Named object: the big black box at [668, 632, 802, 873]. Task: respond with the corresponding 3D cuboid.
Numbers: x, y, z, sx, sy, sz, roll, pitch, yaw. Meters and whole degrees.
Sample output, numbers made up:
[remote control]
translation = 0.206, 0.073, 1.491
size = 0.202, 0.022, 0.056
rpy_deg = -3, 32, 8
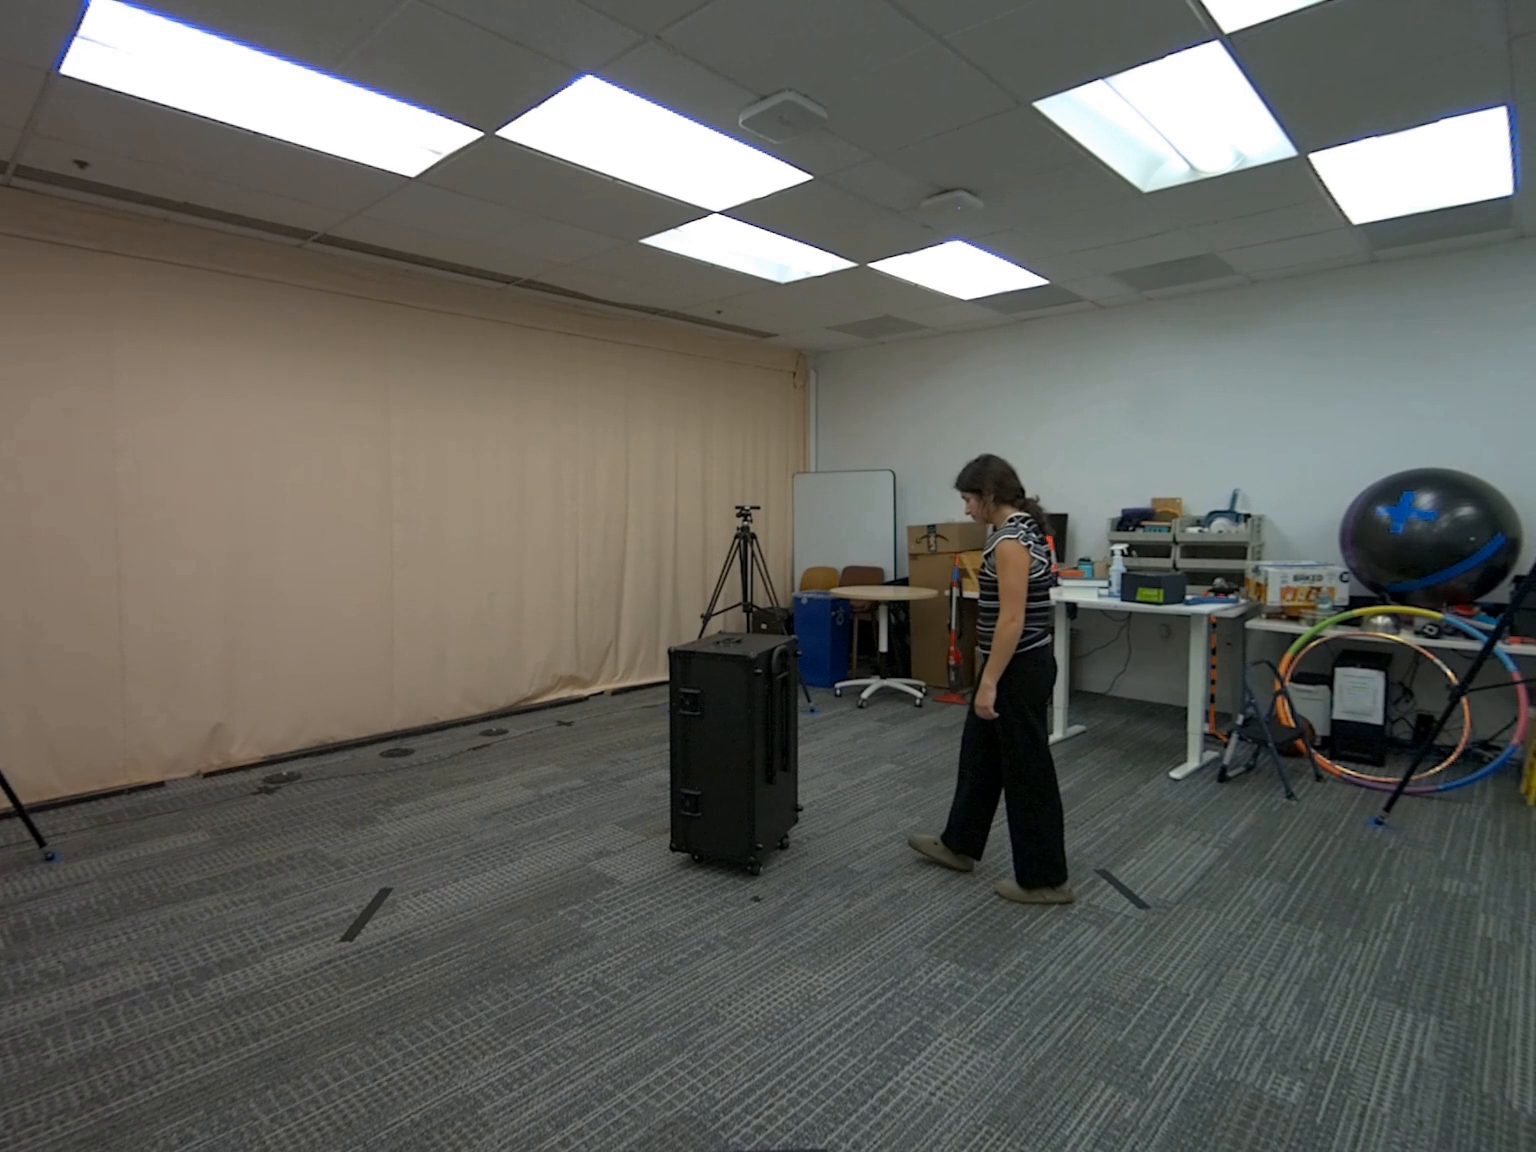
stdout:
[big black box]
translation = -0.111, 0.685, 3.363
size = 0.406, 0.859, 0.509
rpy_deg = 3, 4, 23
